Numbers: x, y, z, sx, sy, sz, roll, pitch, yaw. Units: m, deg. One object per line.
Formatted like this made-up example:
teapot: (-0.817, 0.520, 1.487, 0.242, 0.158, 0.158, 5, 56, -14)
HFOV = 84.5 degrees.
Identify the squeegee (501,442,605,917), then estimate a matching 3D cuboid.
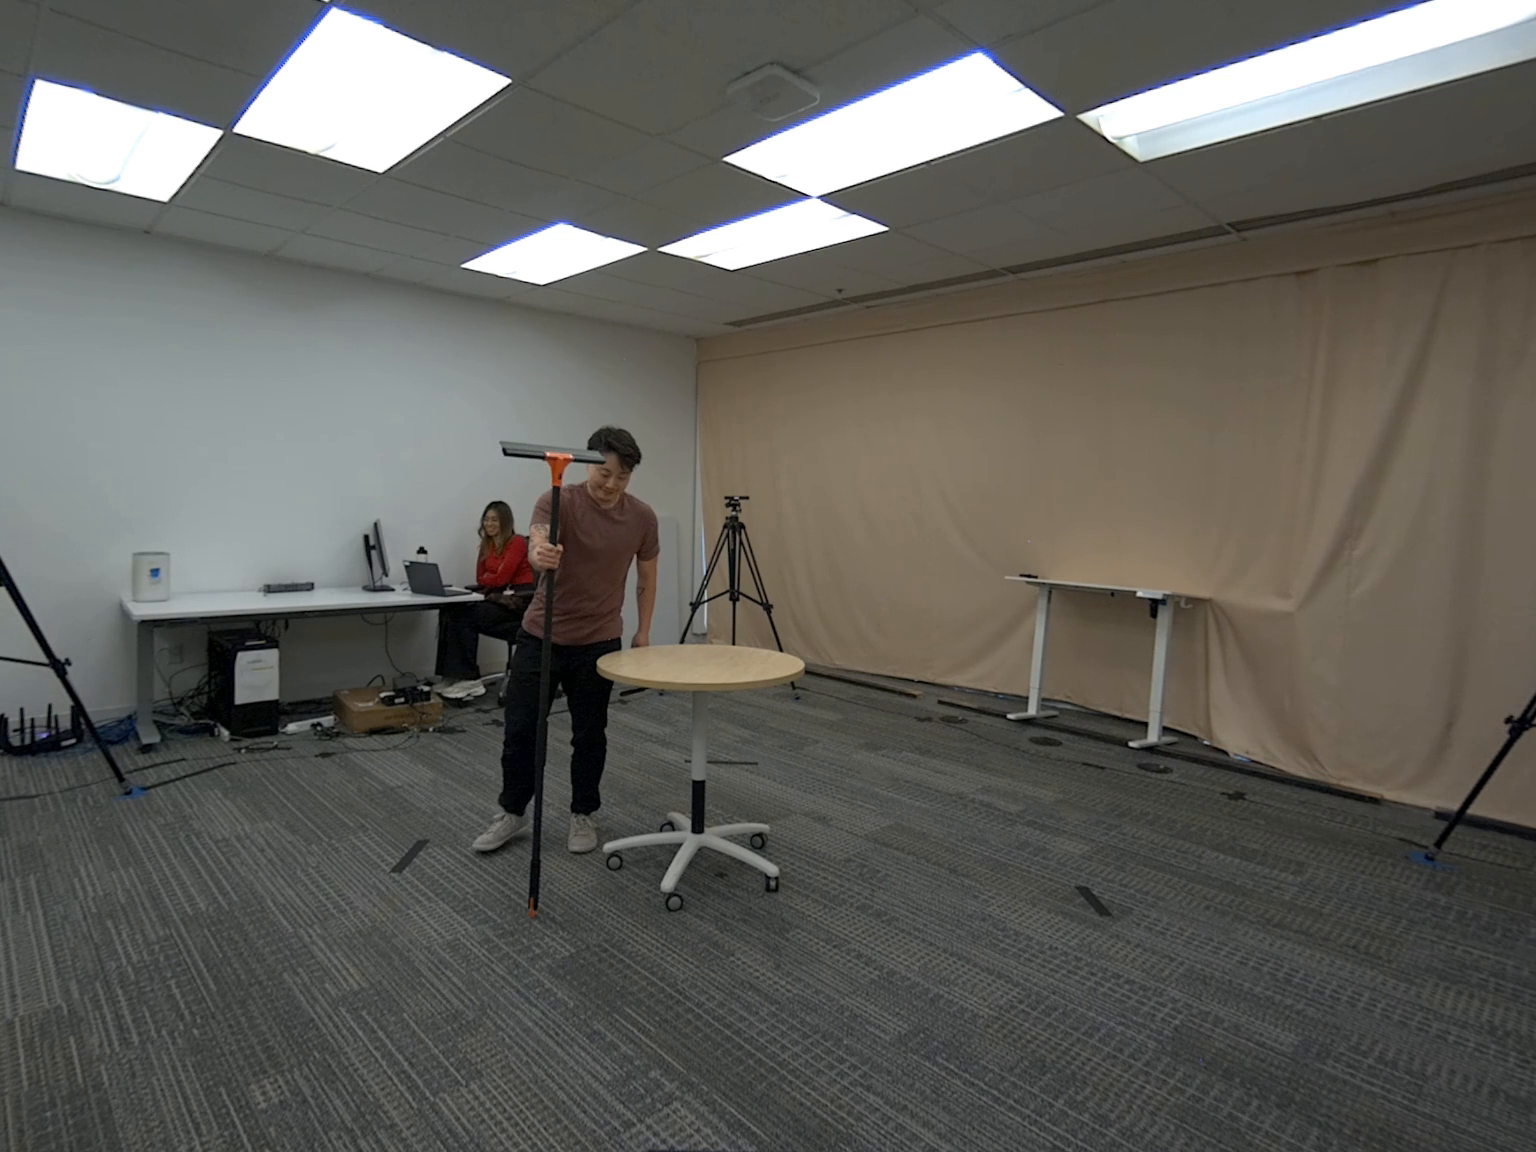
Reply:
squeegee: (-0.724, 0.355, 2.715, 0.054, 1.532, 0.428, 7, 6, 36)
